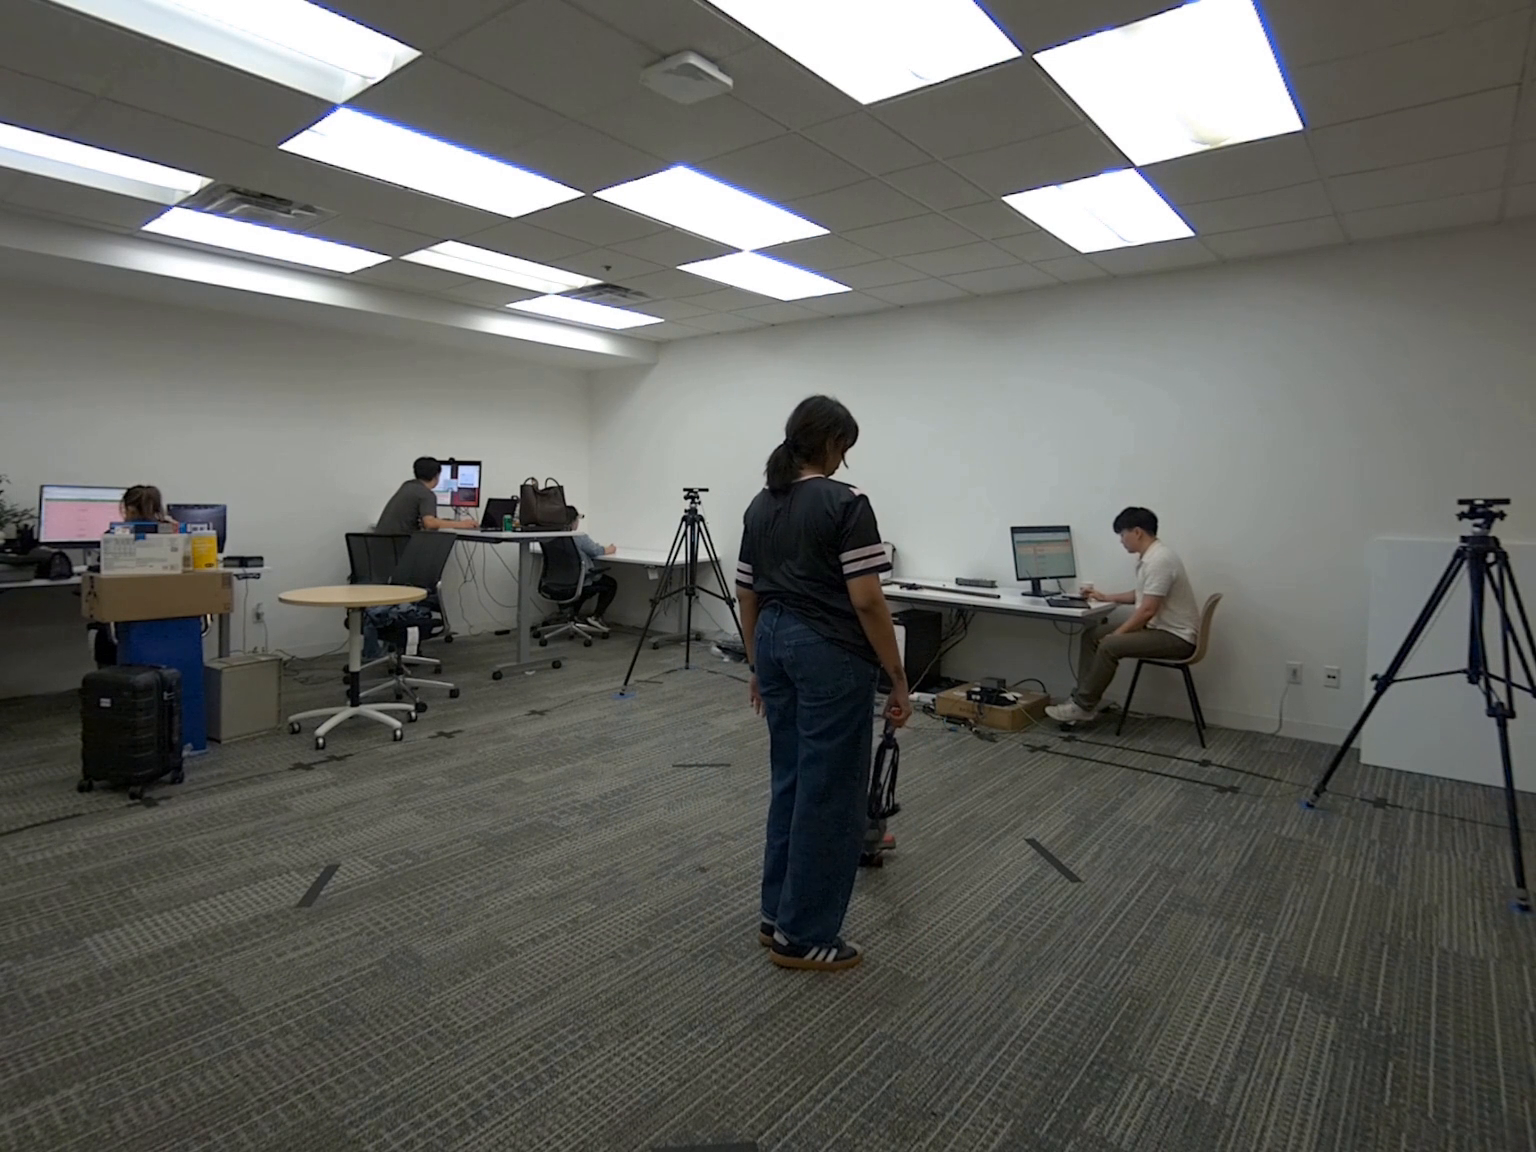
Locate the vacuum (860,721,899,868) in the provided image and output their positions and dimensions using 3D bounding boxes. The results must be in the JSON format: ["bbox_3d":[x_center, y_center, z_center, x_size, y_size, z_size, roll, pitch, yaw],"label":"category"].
[{"bbox_3d":[0.360,0.727,2.847,0.253,0.148,1.019,3,-39,2],"label":"vacuum"}]
